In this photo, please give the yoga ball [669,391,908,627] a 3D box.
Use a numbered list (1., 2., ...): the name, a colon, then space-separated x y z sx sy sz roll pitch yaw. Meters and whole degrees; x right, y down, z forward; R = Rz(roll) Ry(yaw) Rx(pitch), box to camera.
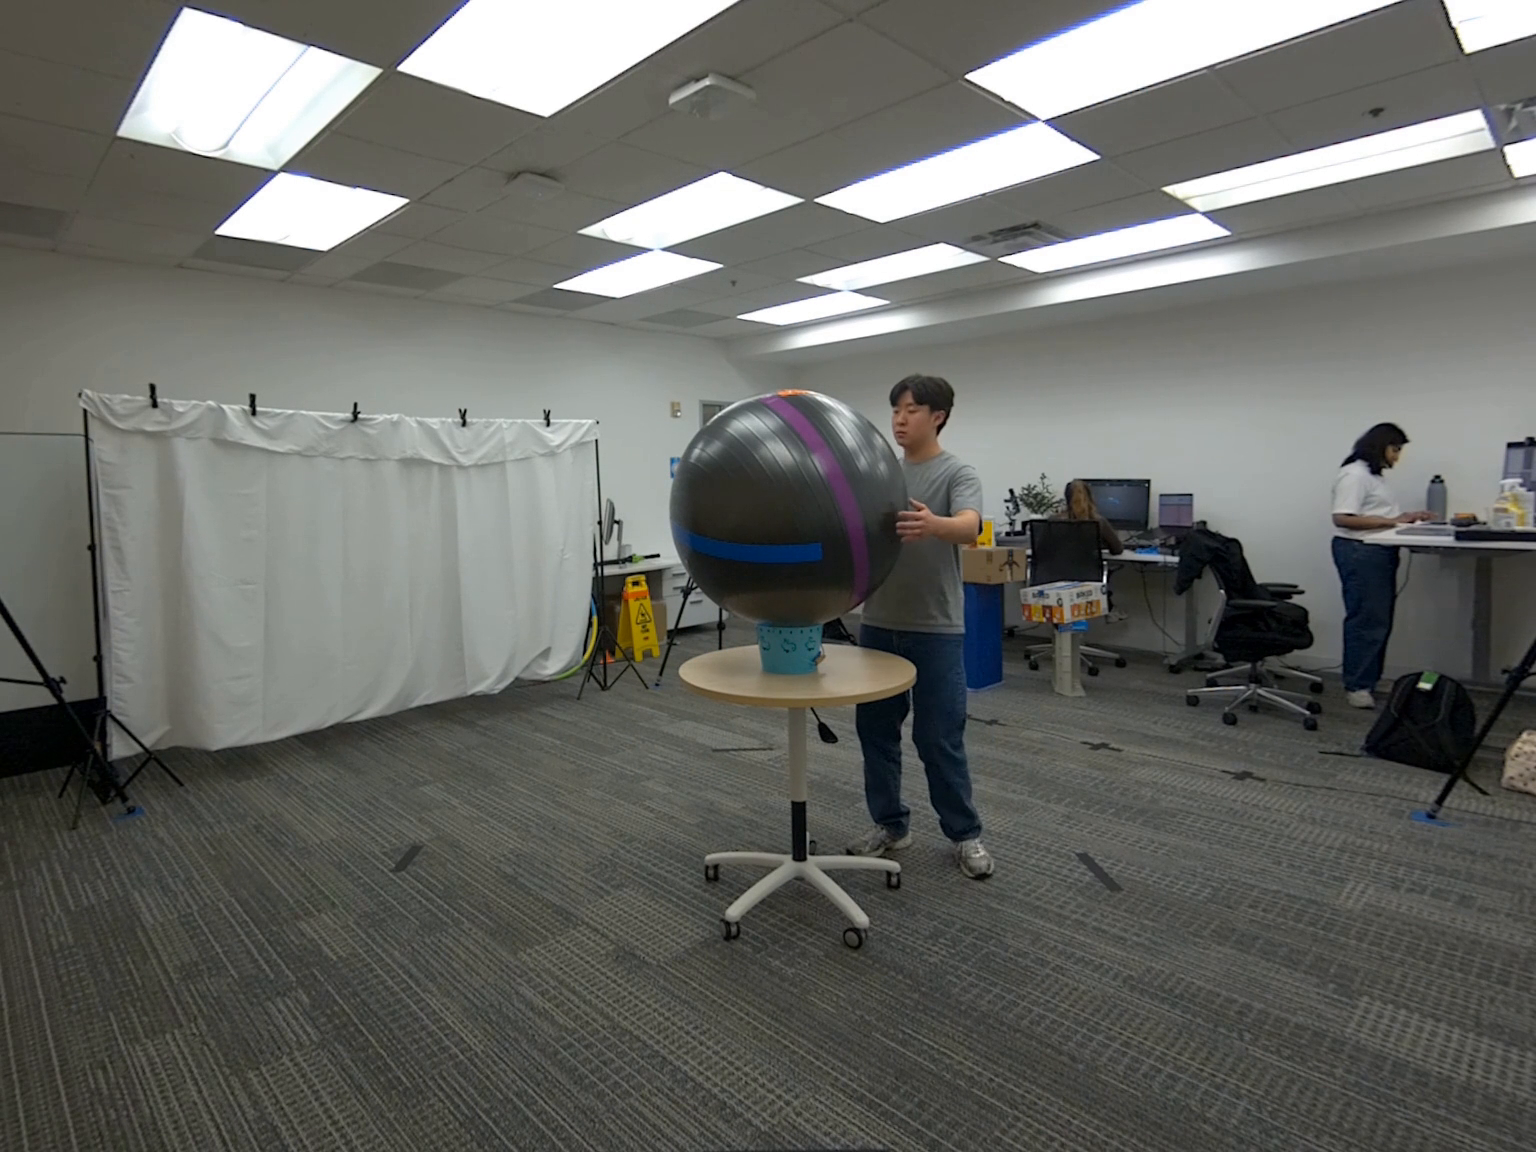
1. yoga ball: 0.065 -0.211 2.741 0.757 0.755 0.762 -1 5 -2
